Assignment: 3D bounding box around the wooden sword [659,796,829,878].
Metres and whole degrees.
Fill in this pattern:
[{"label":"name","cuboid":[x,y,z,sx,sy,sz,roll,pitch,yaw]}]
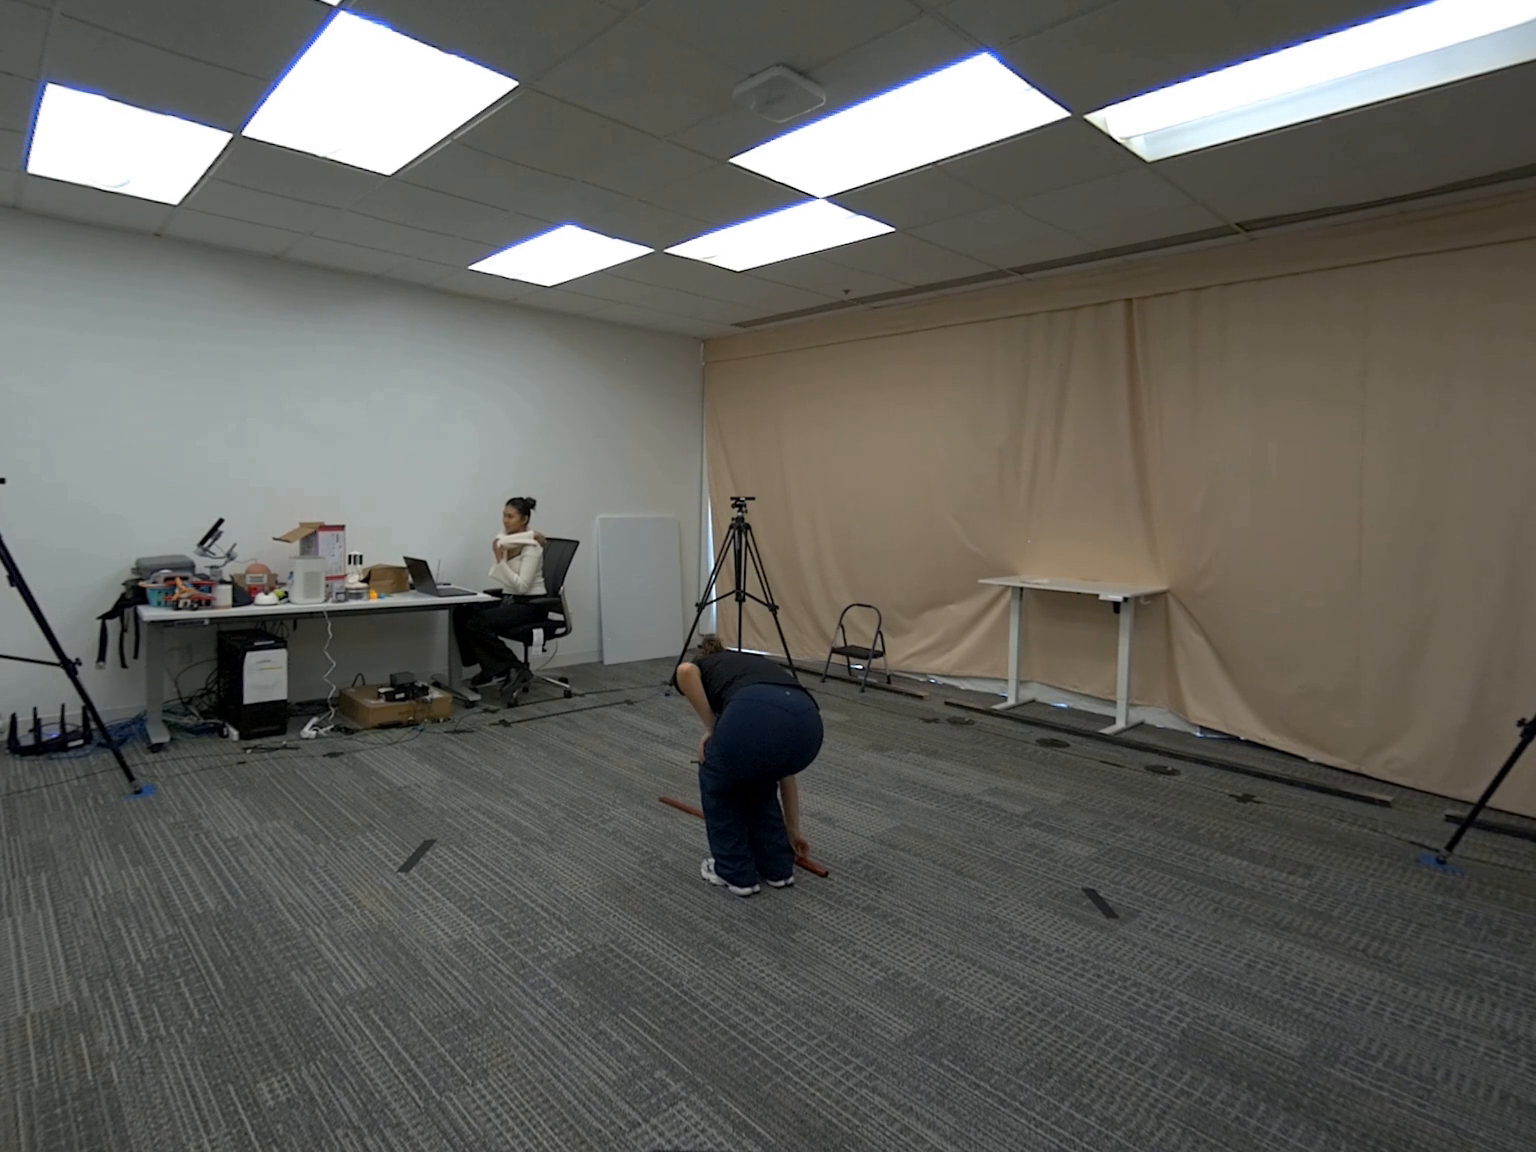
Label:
[{"label":"wooden sword","cuboid":[-0.132,1.050,3.474,1.051,0.024,0.050,6,-18,47]}]
